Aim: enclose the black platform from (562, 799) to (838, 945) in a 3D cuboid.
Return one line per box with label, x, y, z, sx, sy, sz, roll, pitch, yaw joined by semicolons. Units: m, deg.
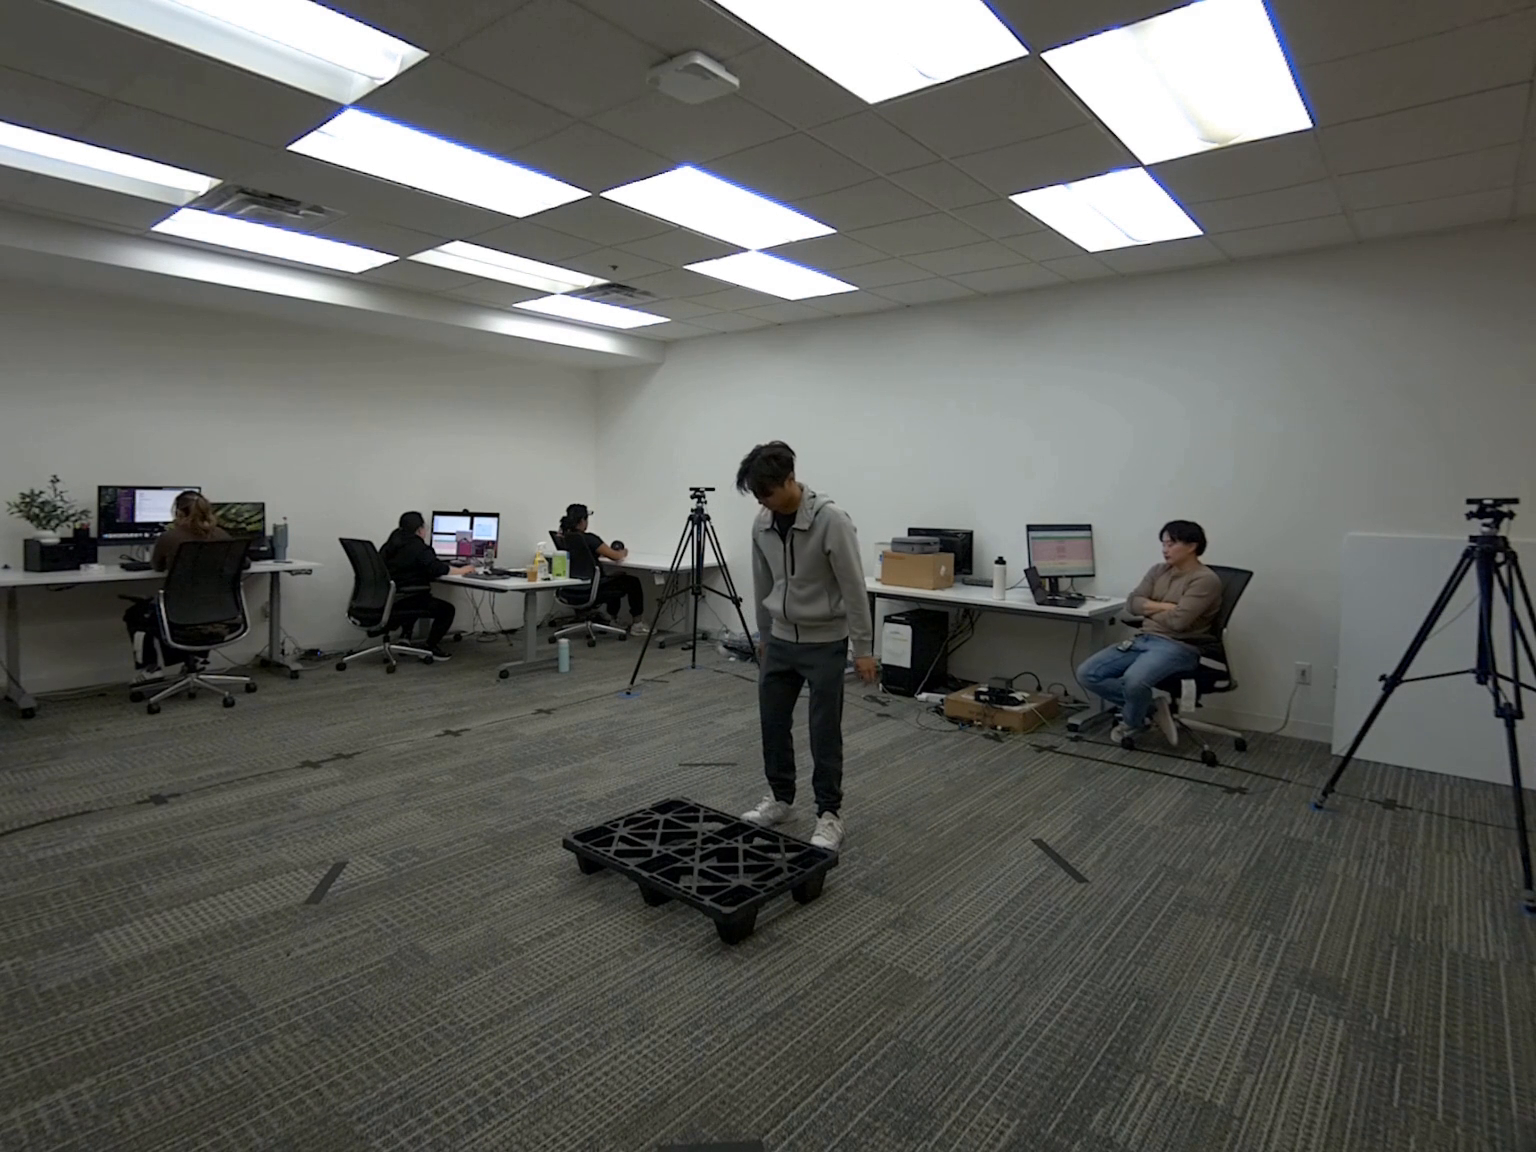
black platform;-0.258;1.011;3.000;0.833;0.143;0.587;6;7;40
